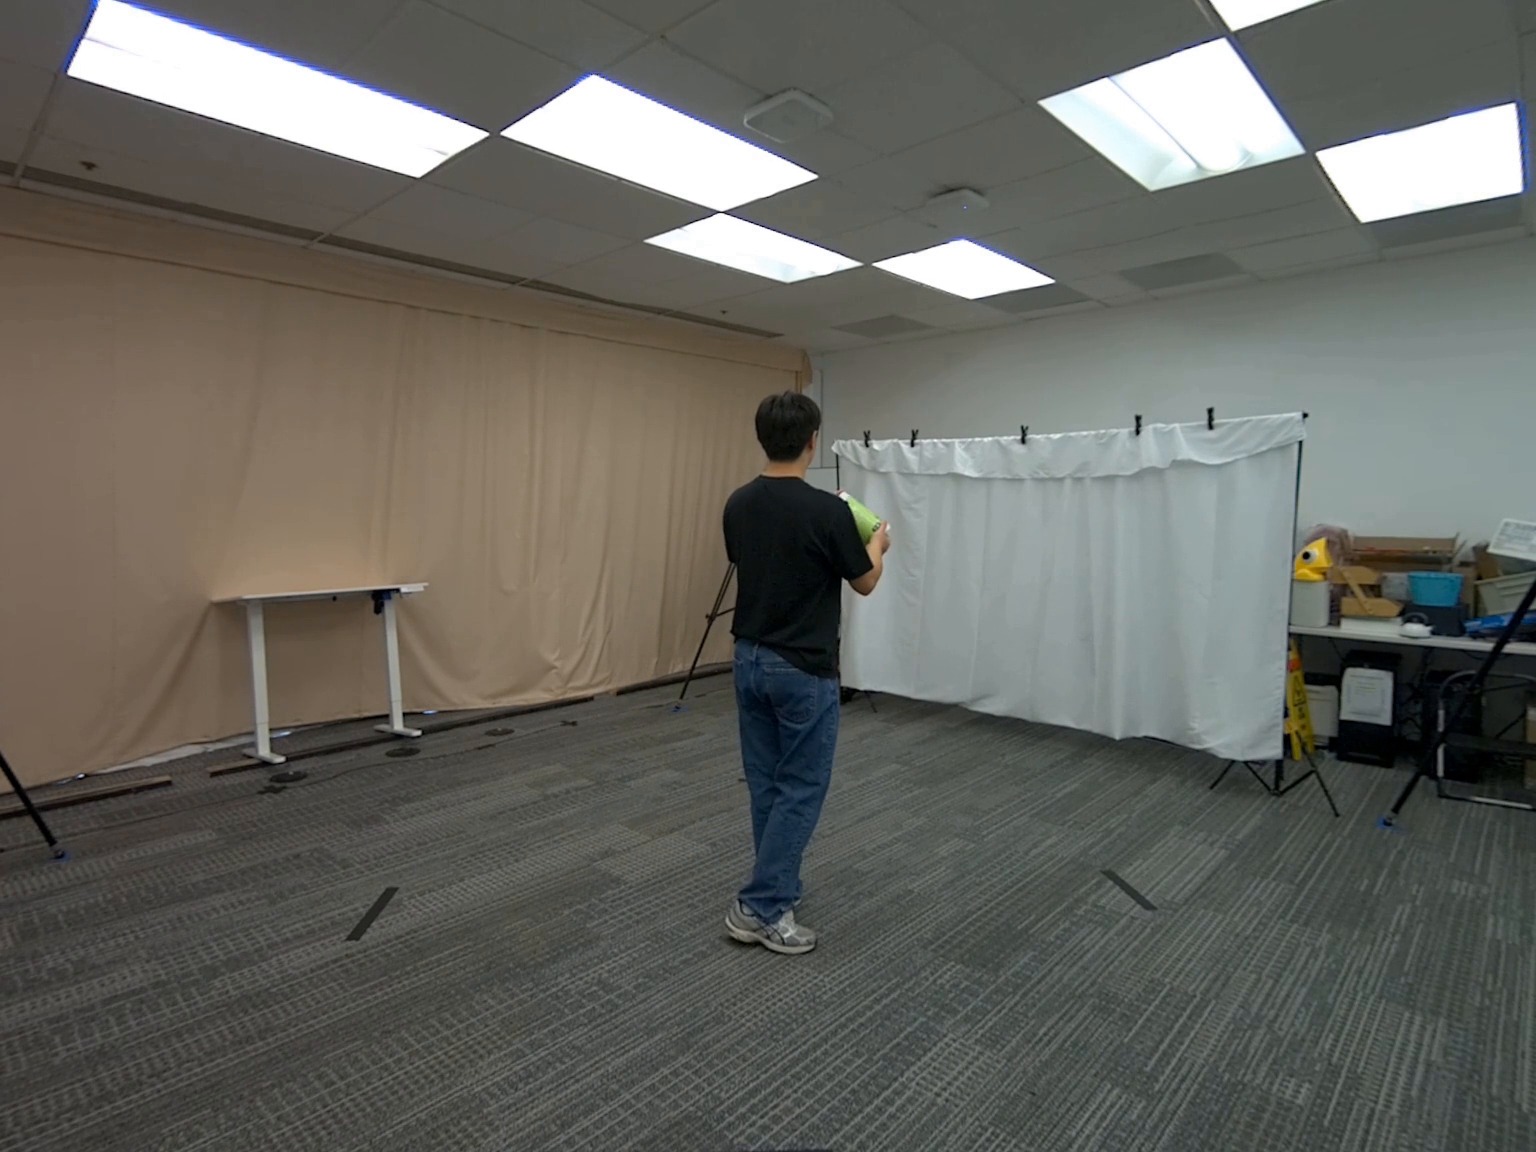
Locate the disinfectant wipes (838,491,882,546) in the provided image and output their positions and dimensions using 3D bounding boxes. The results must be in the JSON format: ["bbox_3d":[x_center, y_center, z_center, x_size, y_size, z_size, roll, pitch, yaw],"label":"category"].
[{"bbox_3d":[0.318,-0.197,3.029,0.219,0.118,0.117,40,8,5],"label":"disinfectant wipes"}]
